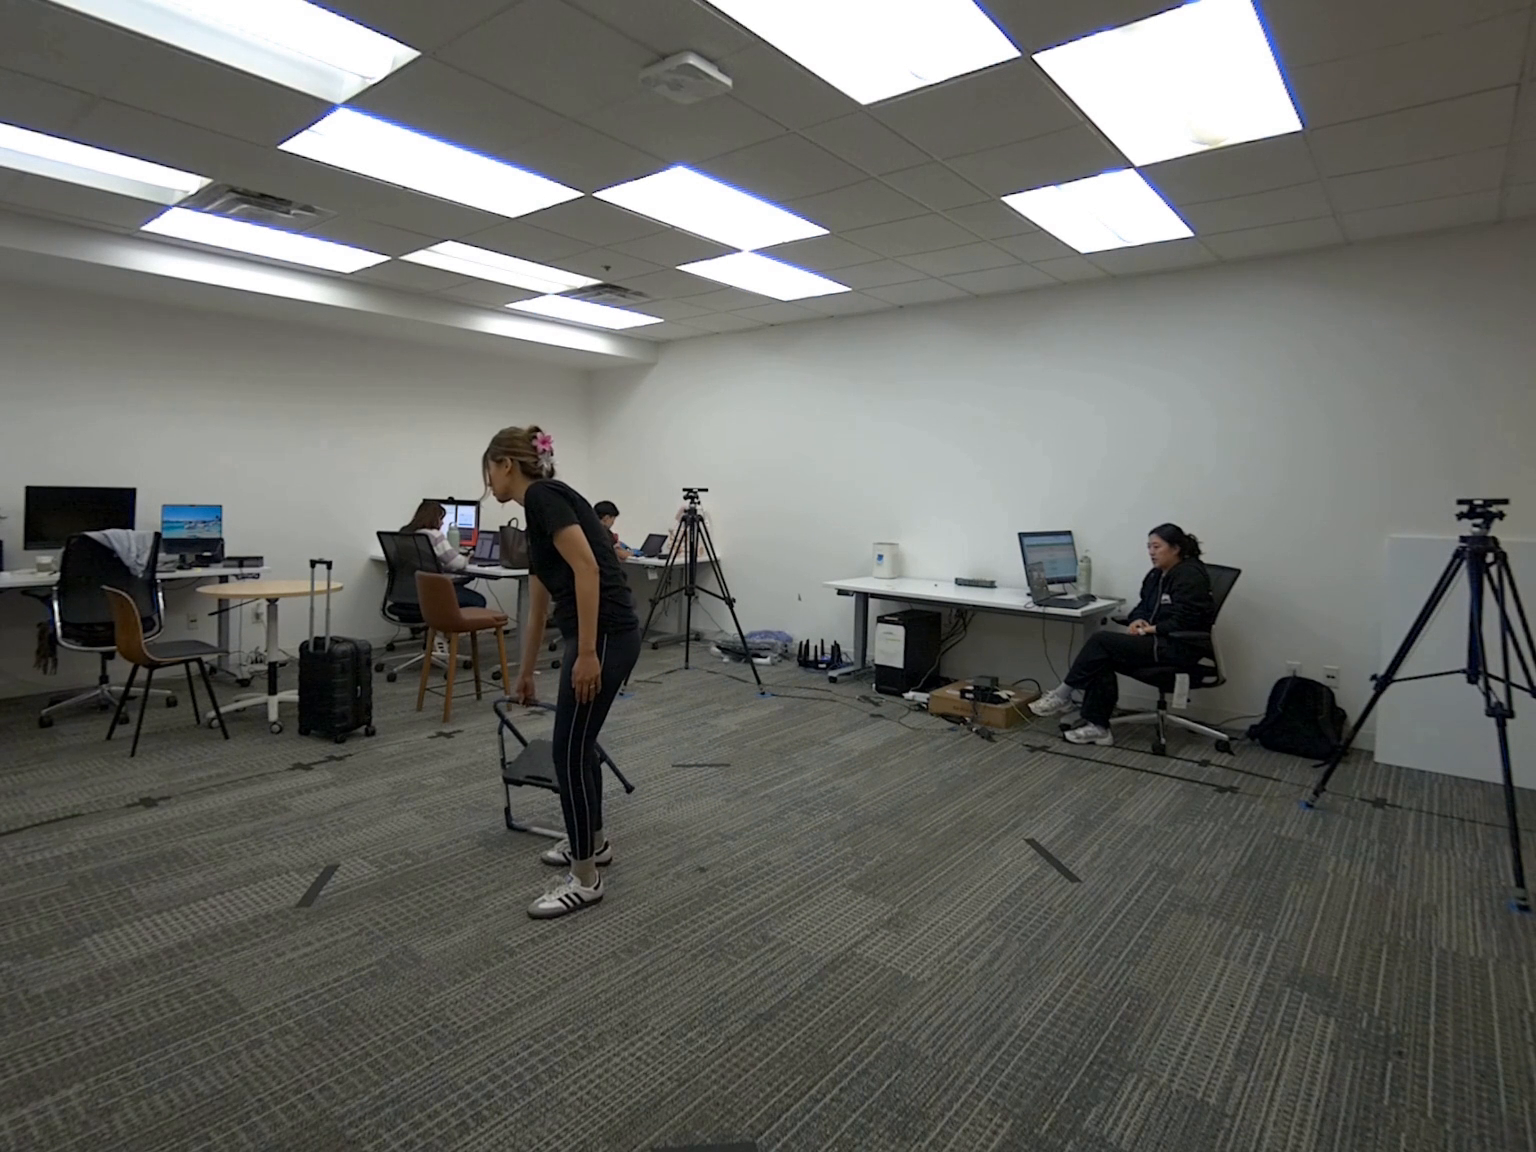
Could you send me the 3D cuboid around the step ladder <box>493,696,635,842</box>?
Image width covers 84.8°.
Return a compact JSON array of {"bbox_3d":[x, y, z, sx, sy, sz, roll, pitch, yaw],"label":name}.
[{"bbox_3d":[-0.872,0.694,3.378,0.441,0.590,0.350,2,28,23],"label":"step ladder"}]
